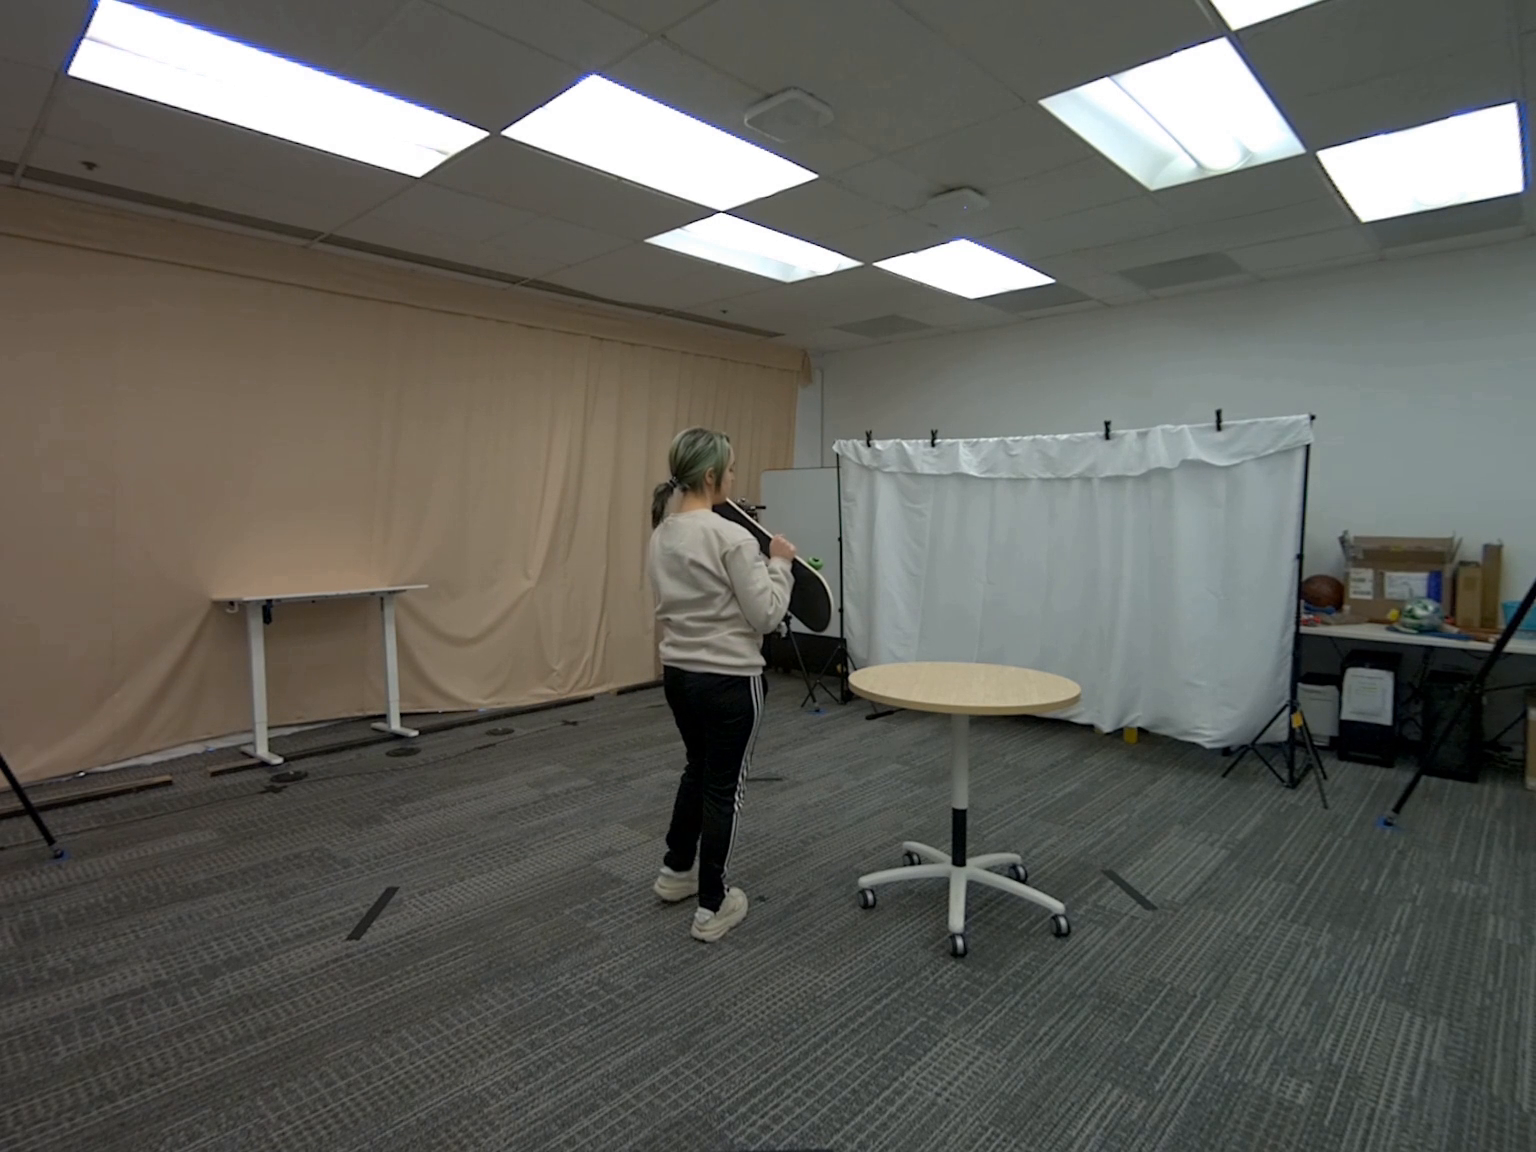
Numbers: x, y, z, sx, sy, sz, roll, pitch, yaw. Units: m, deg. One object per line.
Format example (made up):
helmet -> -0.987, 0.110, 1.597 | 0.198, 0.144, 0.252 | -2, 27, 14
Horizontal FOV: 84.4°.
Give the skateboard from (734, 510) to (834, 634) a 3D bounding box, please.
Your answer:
skateboard -> -0.010, -0.077, 2.883 | 0.107, 0.191, 0.814 | -14, 40, -36
